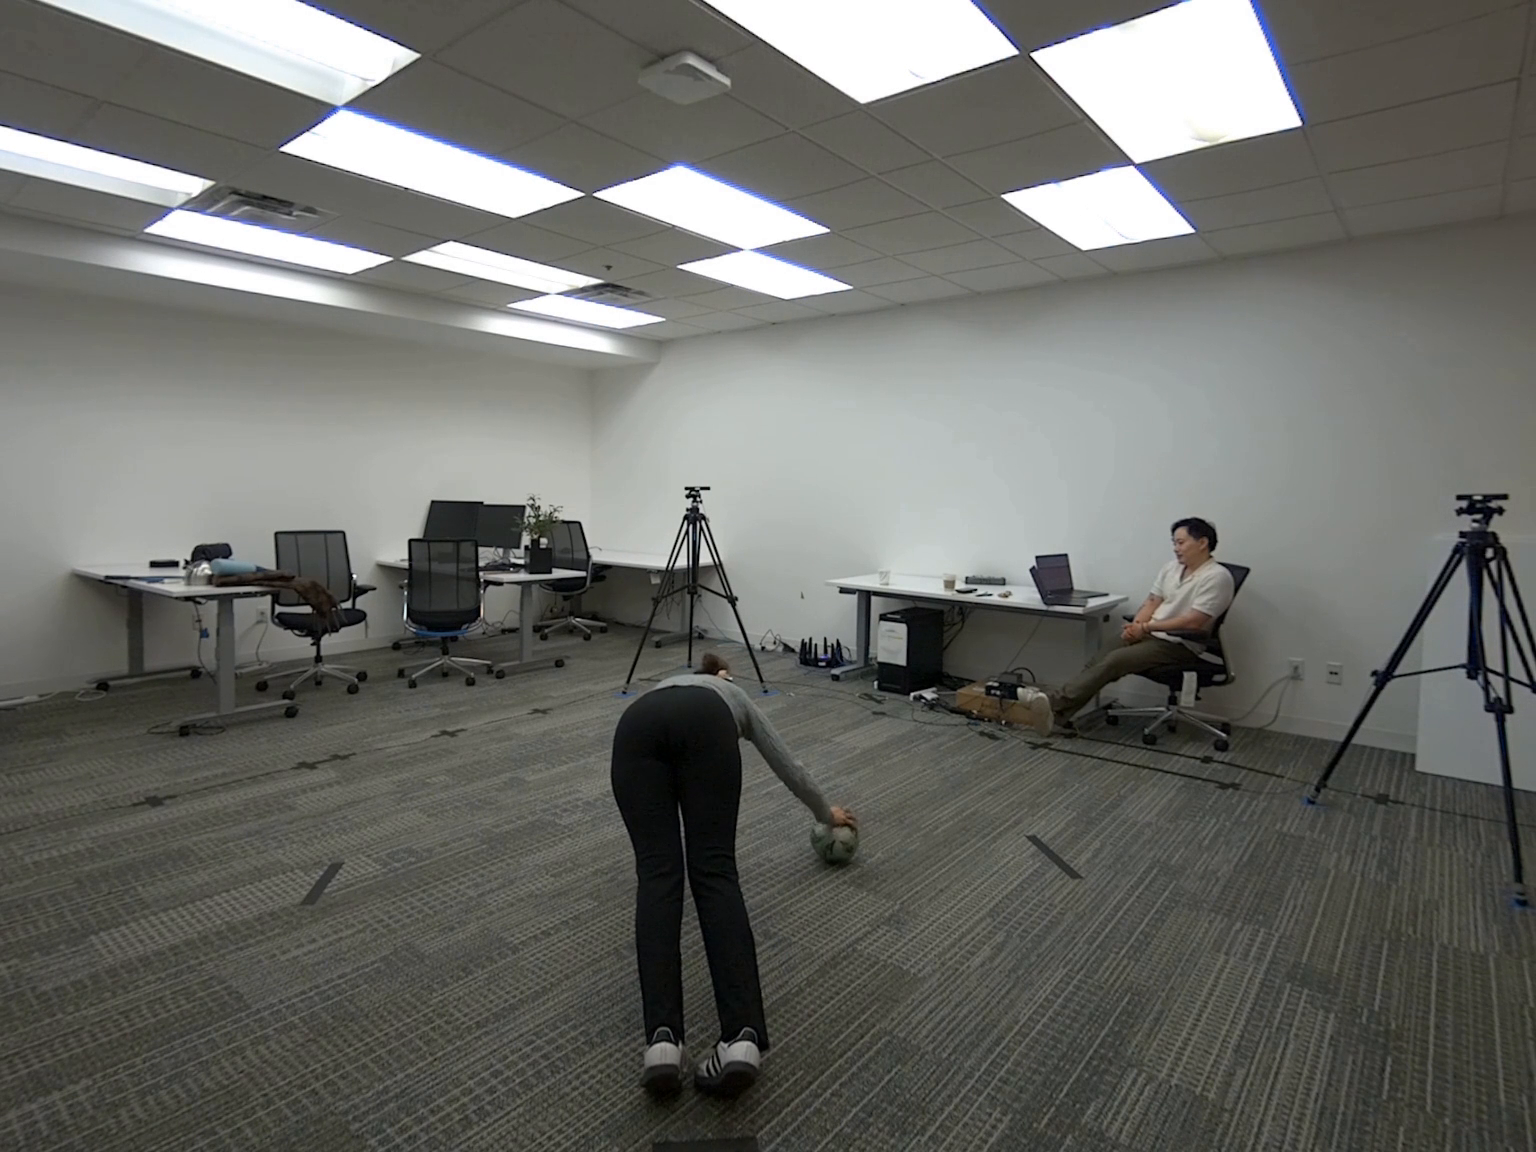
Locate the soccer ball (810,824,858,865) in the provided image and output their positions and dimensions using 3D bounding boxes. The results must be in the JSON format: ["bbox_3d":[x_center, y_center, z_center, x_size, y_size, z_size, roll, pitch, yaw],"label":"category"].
[{"bbox_3d":[0.233,0.975,3.195,0.187,0.187,0.188,1,4,-2],"label":"soccer ball"}]
